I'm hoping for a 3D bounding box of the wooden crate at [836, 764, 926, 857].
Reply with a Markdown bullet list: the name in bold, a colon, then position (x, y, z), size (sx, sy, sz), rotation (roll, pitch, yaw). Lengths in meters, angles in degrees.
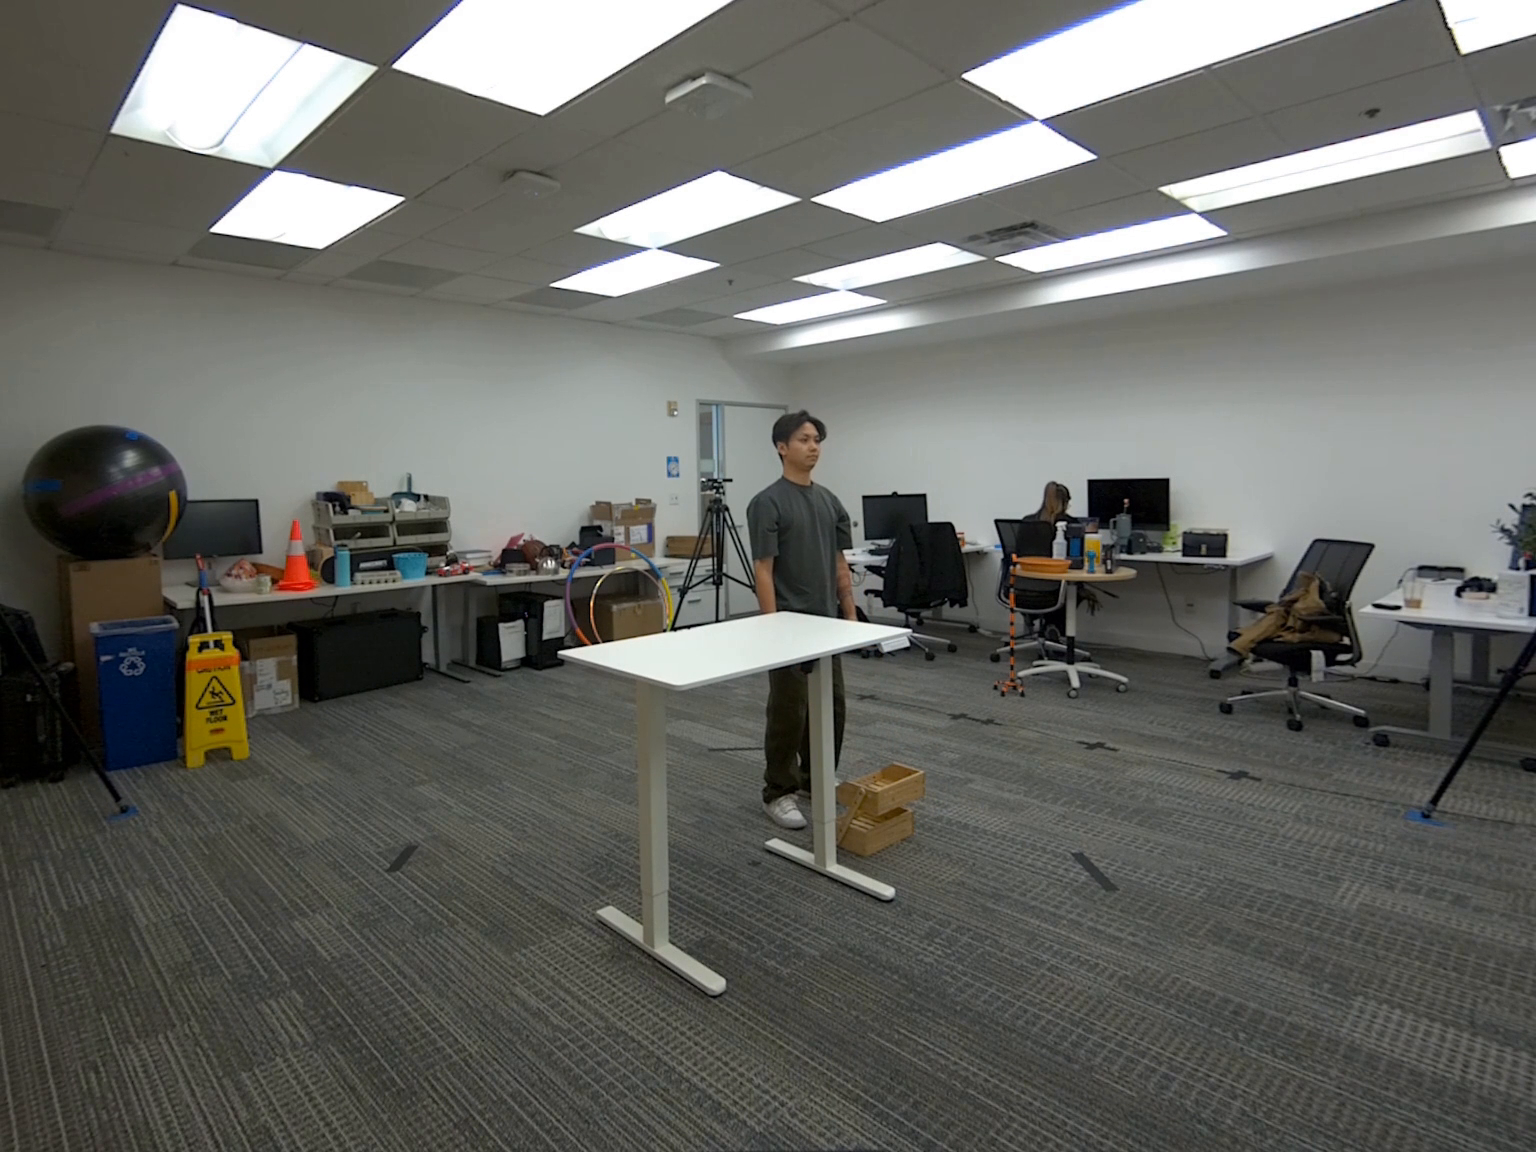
- **wooden crate**: position (0.393, 0.879, 3.311), size (0.316, 0.272, 0.311), rotation (-5, 7, -43)
